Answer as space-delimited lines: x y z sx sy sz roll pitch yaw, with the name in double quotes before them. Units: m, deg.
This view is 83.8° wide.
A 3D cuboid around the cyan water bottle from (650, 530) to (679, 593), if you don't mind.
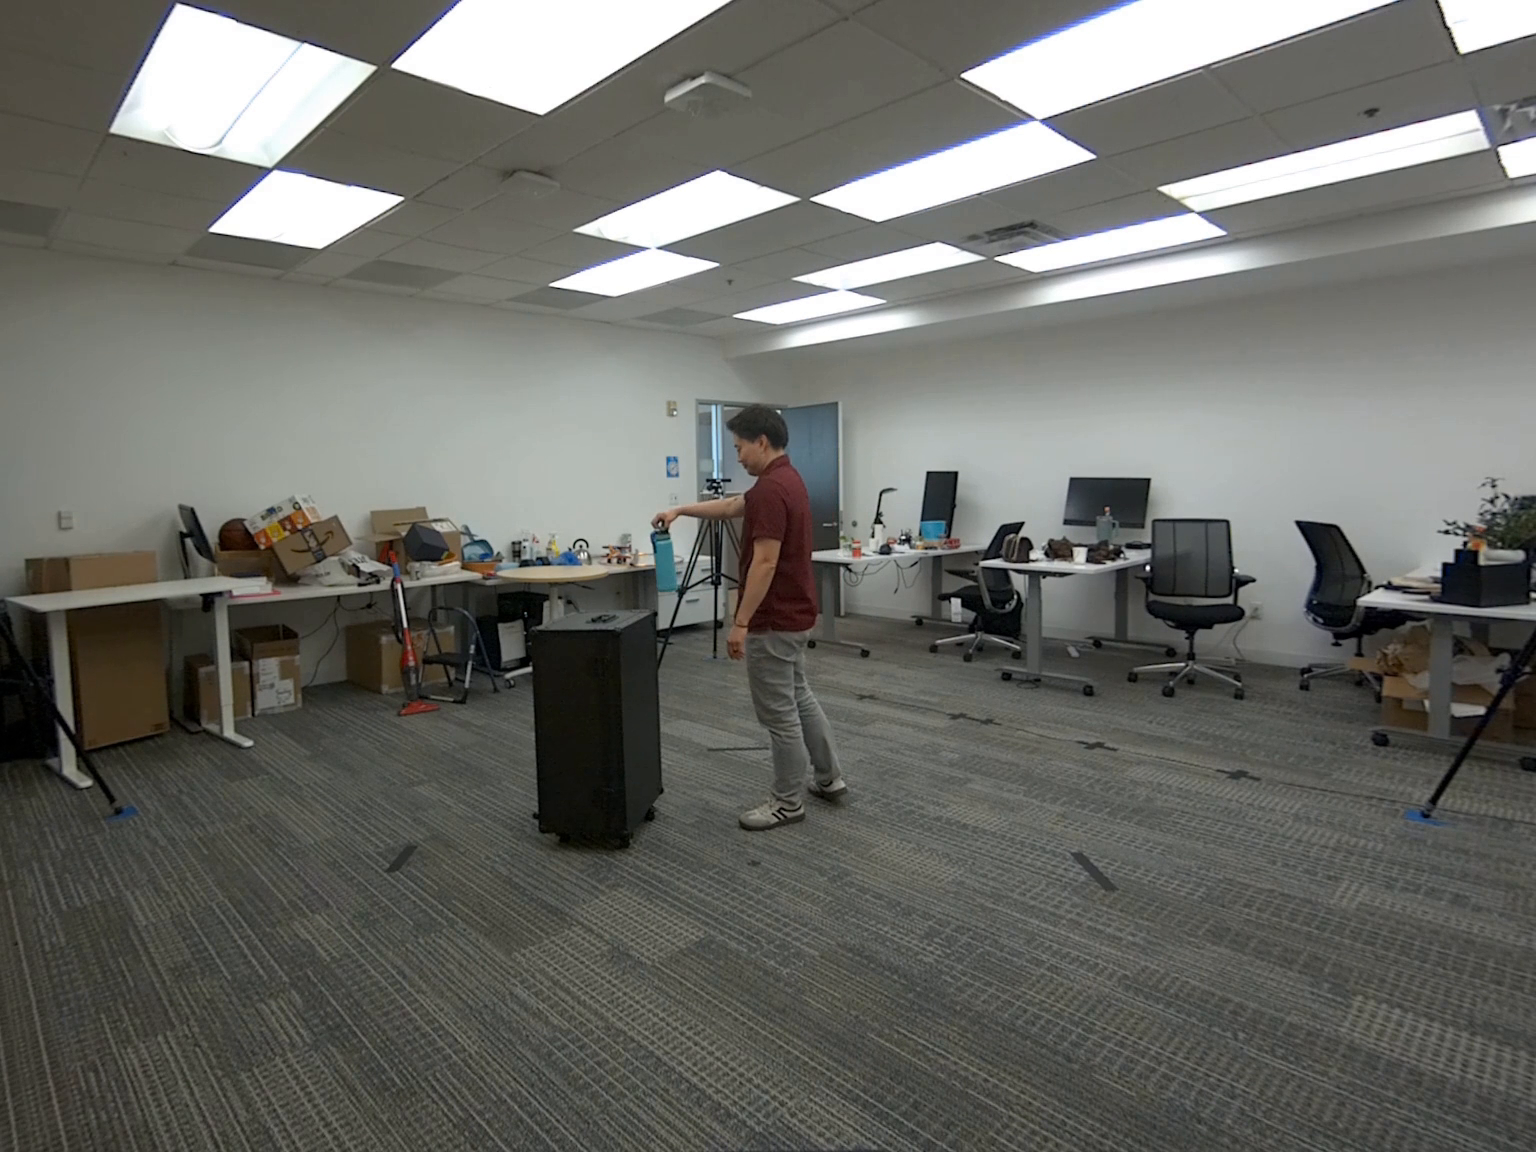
"cyan water bottle" -0.456 -0.076 3.764 0.092 0.281 0.093 -6 7 -1
